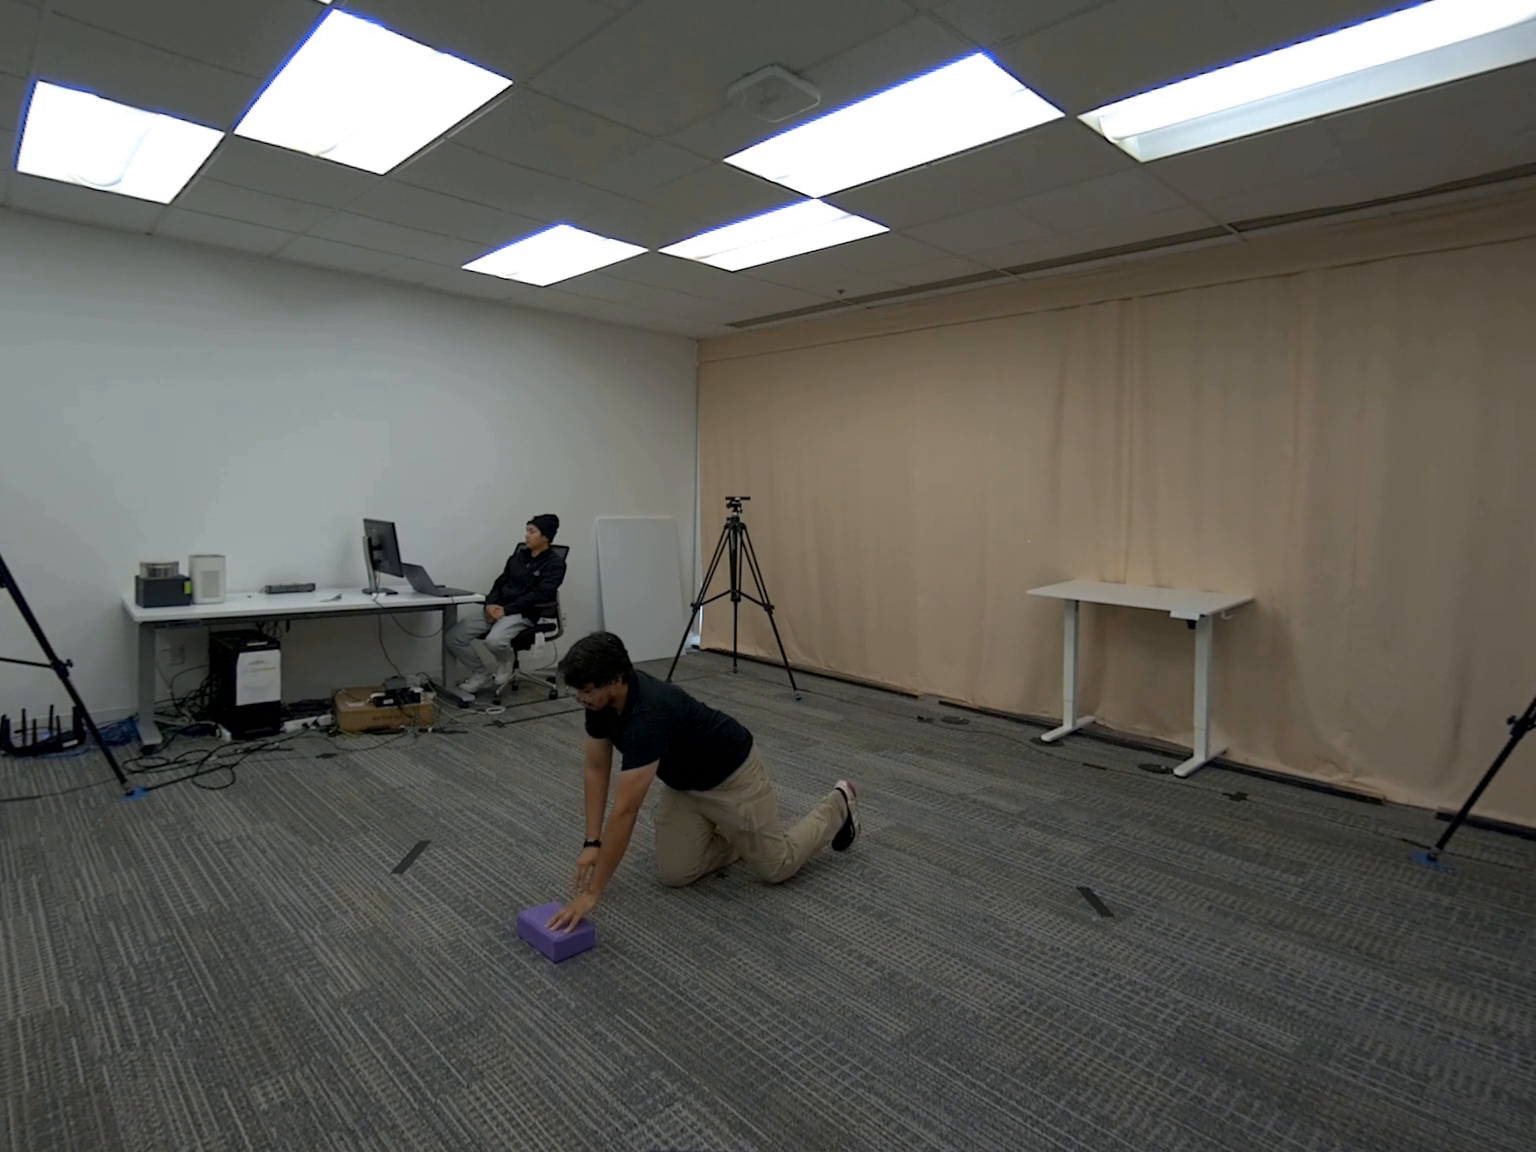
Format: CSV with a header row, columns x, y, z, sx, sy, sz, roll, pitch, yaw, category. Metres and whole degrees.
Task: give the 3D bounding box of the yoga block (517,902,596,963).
x,y,z,sx,sy,sz,roll,pitch,yaw,category
-0.666,1.104,2.620,0.235,0.076,0.145,6,6,44,yoga block
